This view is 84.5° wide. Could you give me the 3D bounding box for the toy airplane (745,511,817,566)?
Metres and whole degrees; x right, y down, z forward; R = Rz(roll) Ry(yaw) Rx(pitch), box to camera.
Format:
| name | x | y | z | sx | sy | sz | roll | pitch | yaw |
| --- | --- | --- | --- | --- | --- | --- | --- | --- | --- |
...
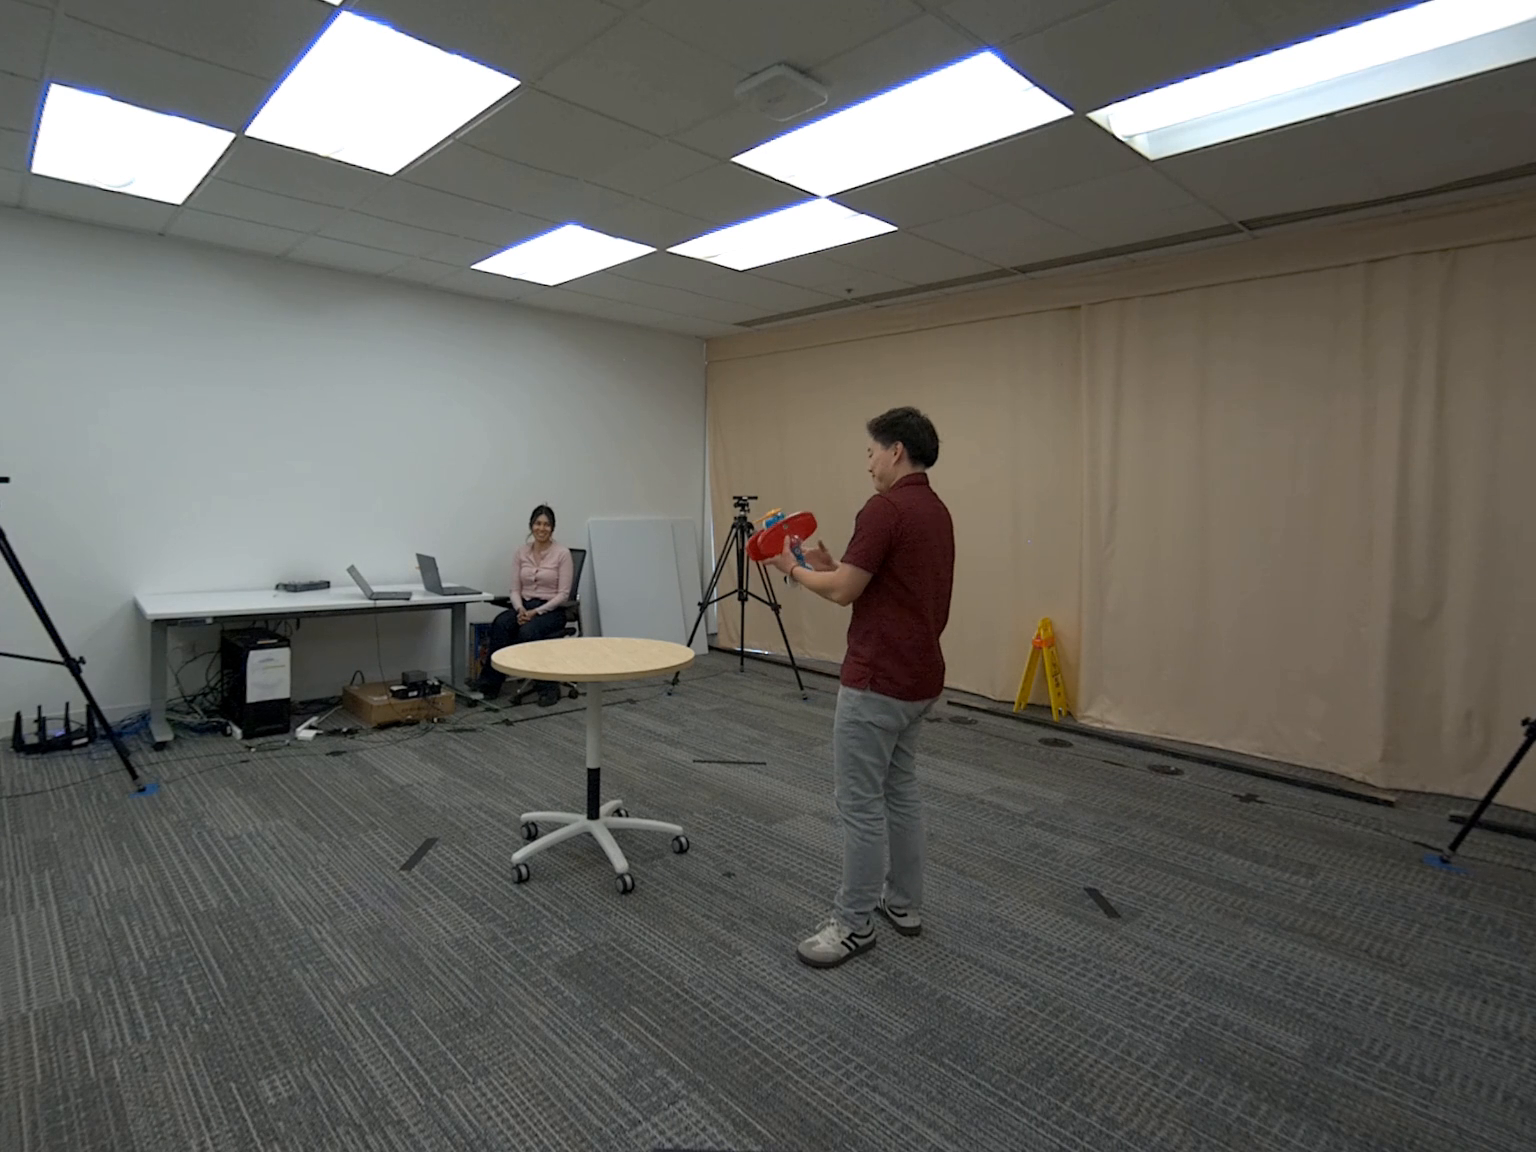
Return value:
| name | x | y | z | sx | sy | sz | roll | pitch | yaw |
| --- | --- | --- | --- | --- | --- | --- | --- | --- | --- |
| toy airplane | 0.071 | -0.100 | 2.836 | 0.257 | 0.253 | 0.156 | 33 | -32 | -8 |
